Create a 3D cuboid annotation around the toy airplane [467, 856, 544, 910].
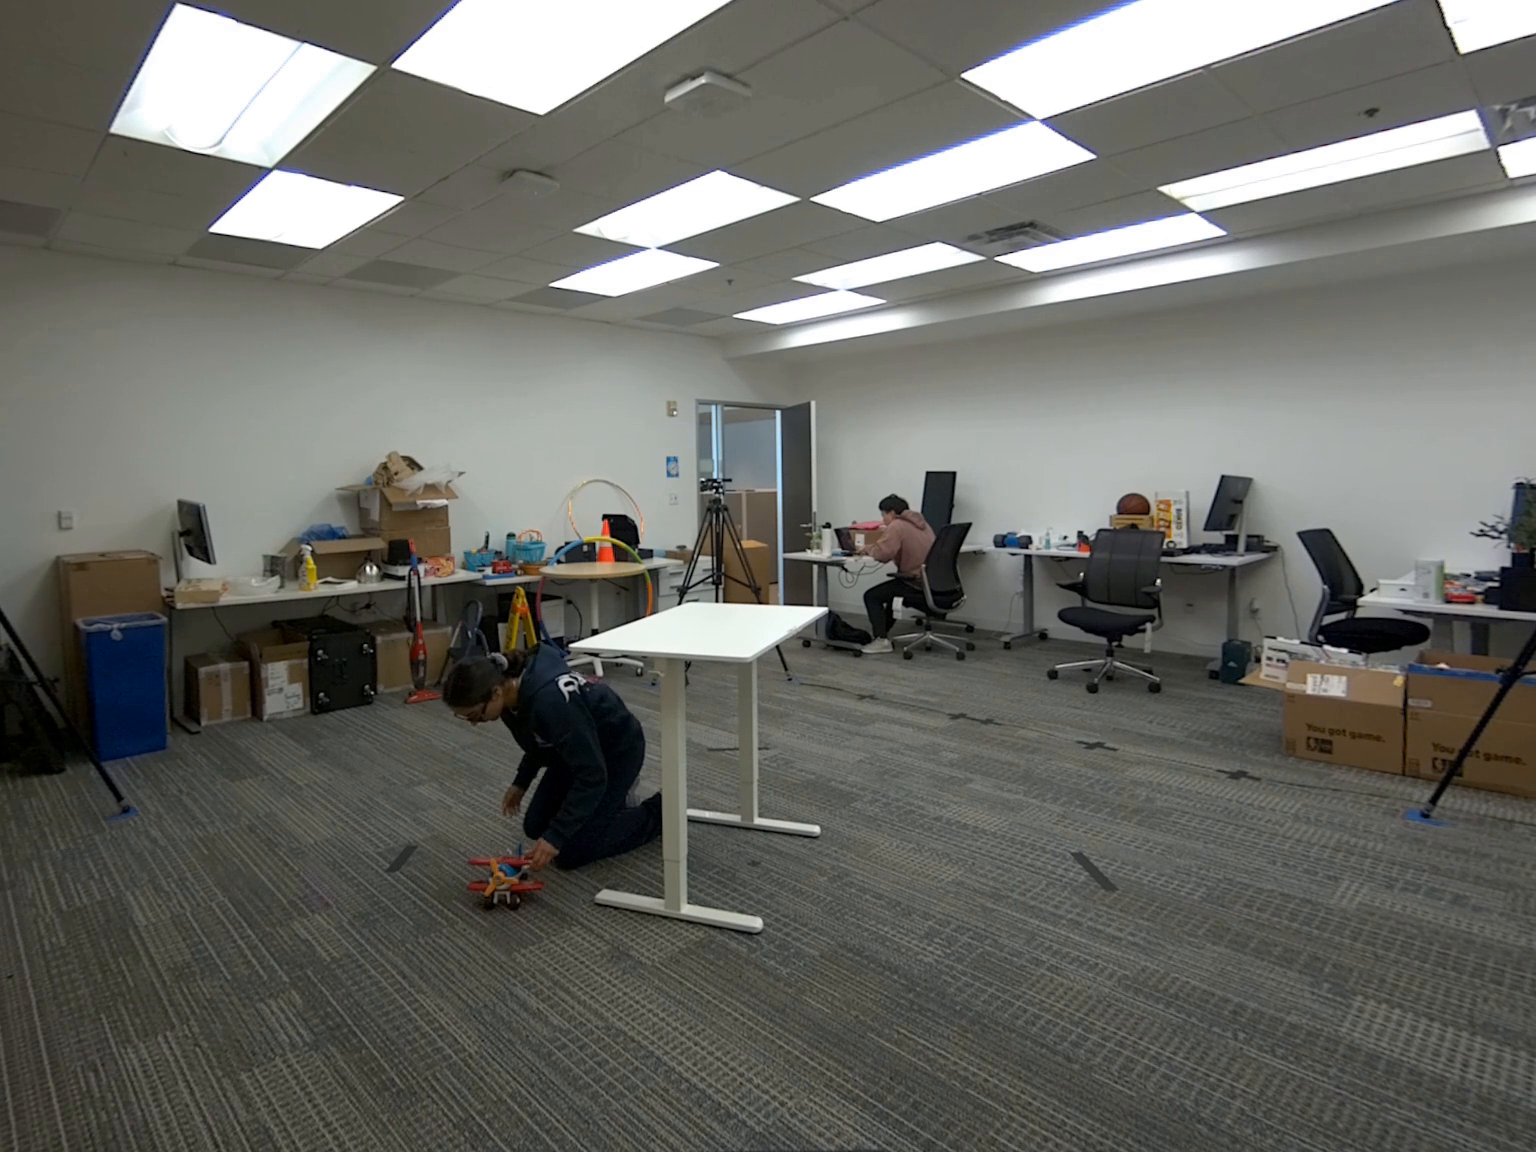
[{"bbox_3d":[-0.910,1.021,2.917,0.244,0.156,0.266,2,1,-34],"label":"toy airplane"}]
